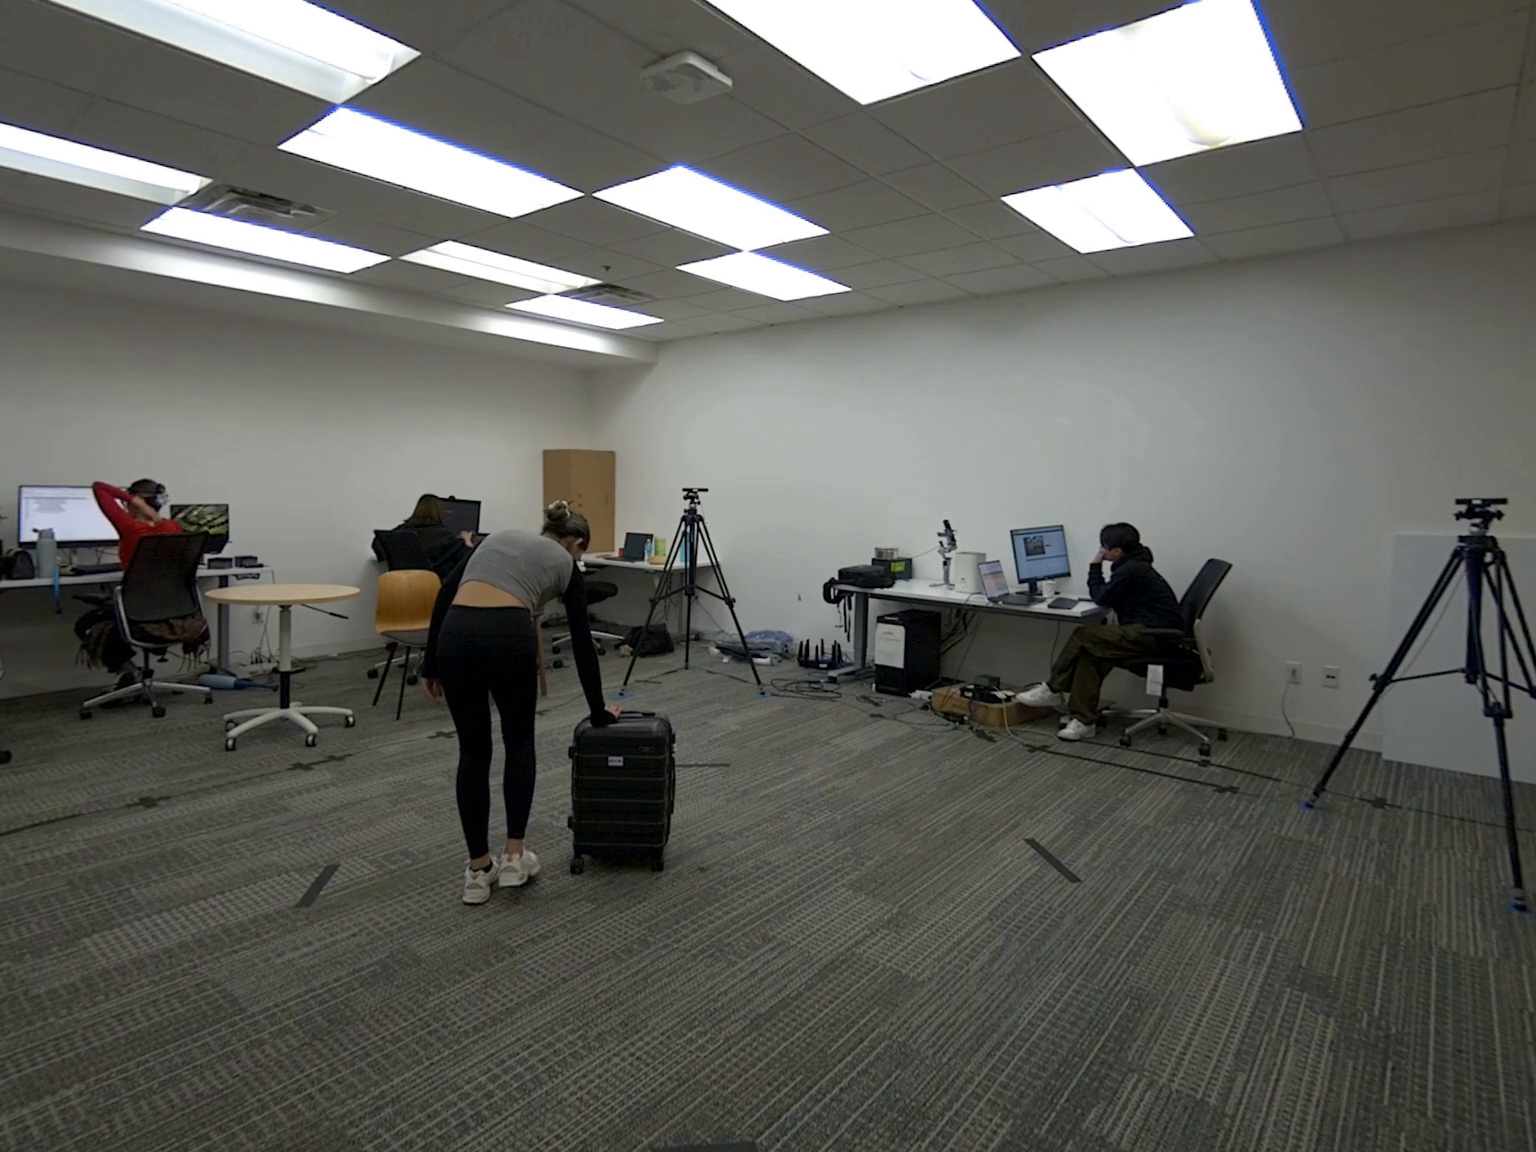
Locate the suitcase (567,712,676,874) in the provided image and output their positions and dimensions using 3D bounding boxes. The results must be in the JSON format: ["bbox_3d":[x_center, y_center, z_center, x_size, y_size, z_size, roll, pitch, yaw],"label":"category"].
[{"bbox_3d":[-0.551,0.781,3.180,0.375,0.548,0.250,0,3,-3],"label":"suitcase"}]
